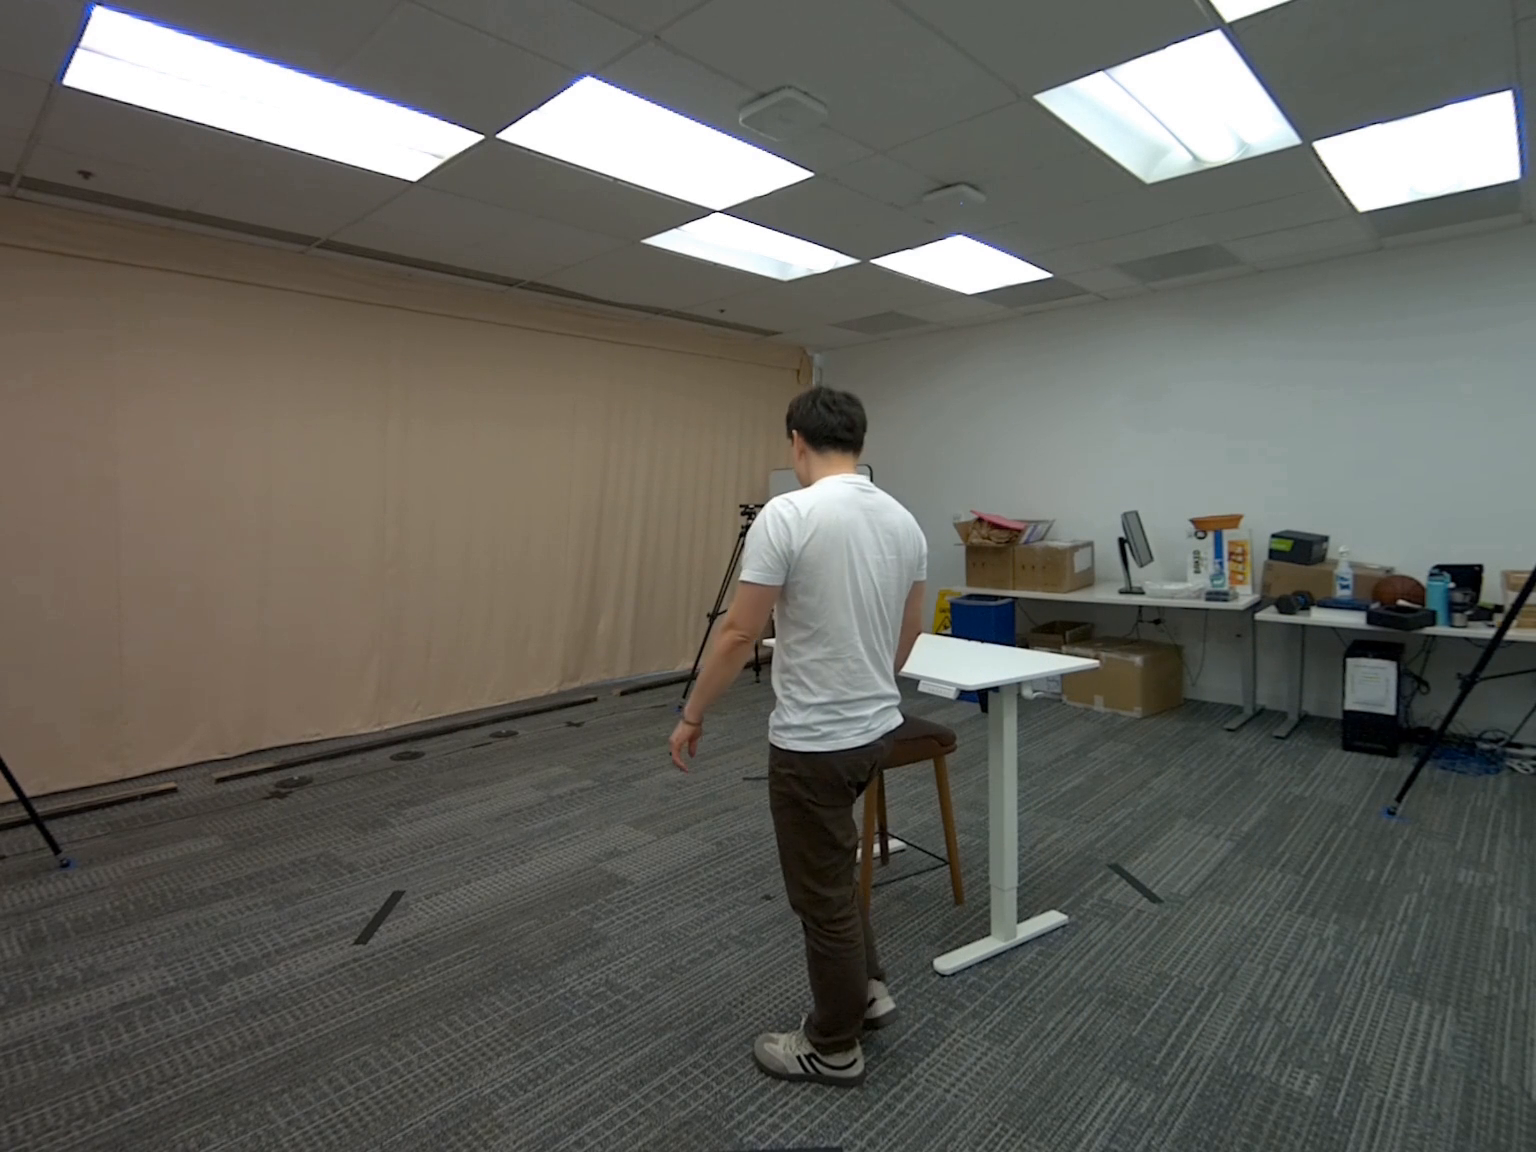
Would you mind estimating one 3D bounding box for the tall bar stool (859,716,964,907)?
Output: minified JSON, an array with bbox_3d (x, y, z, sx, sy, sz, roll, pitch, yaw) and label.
[{"bbox_3d":[0.374,0.709,2.936,0.455,0.887,0.470,-6,6,-31],"label":"tall bar stool"}]
